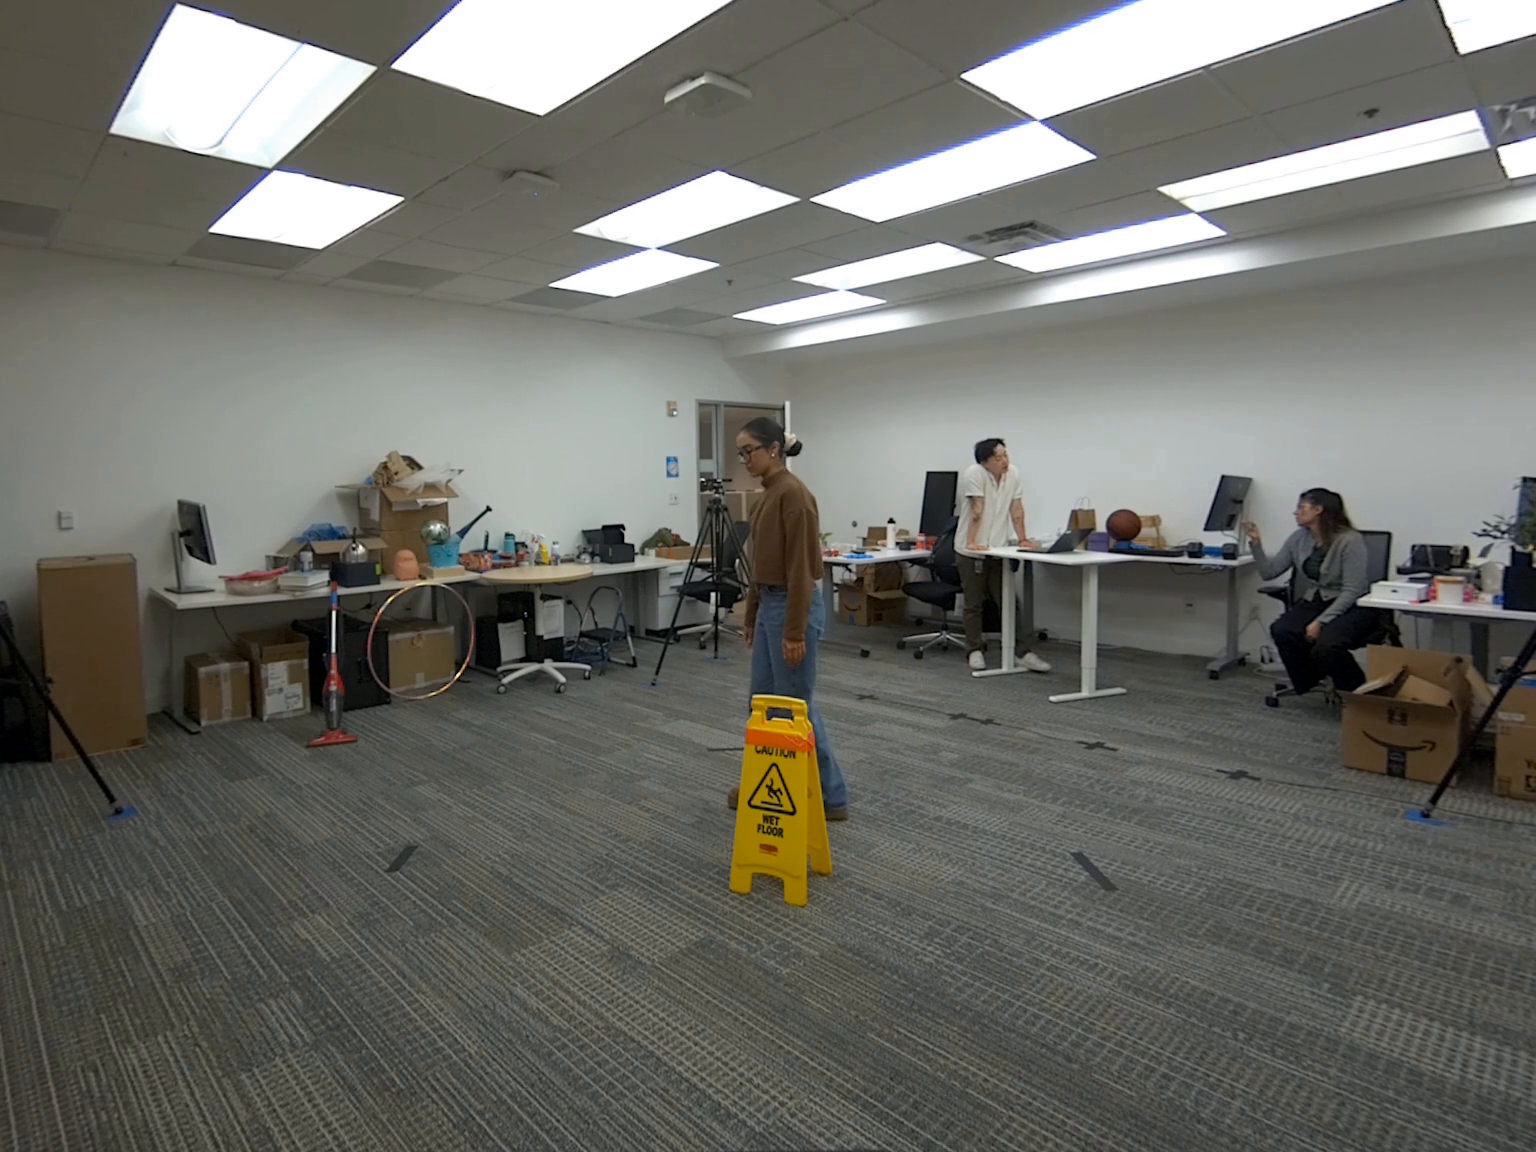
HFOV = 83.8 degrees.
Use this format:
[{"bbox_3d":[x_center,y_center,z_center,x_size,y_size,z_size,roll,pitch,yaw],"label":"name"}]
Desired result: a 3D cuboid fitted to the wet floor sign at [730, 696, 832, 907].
[{"bbox_3d":[0.049,0.739,2.946,0.289,0.644,0.284,2,4,25],"label":"wet floor sign"}]
